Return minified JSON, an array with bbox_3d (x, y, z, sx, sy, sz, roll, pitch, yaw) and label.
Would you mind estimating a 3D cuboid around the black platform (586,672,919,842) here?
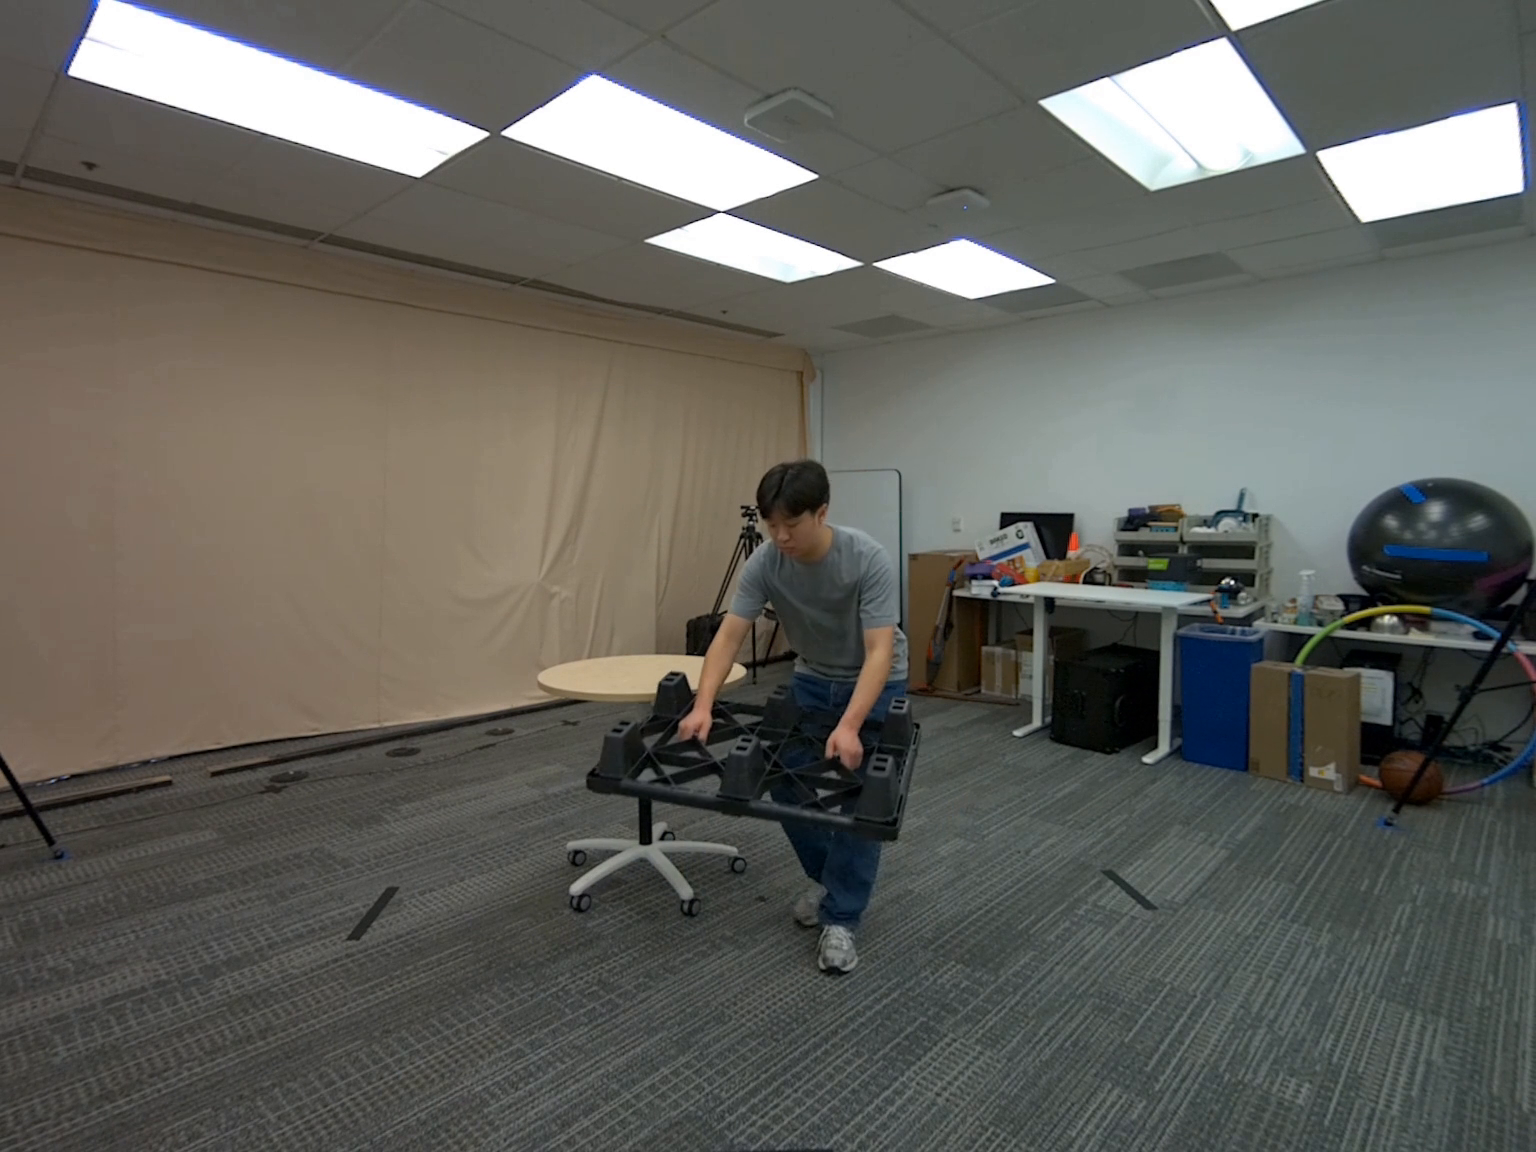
[{"bbox_3d":[-0.003,0.458,2.302,0.821,0.142,0.599,4,15,17],"label":"black platform"}]
